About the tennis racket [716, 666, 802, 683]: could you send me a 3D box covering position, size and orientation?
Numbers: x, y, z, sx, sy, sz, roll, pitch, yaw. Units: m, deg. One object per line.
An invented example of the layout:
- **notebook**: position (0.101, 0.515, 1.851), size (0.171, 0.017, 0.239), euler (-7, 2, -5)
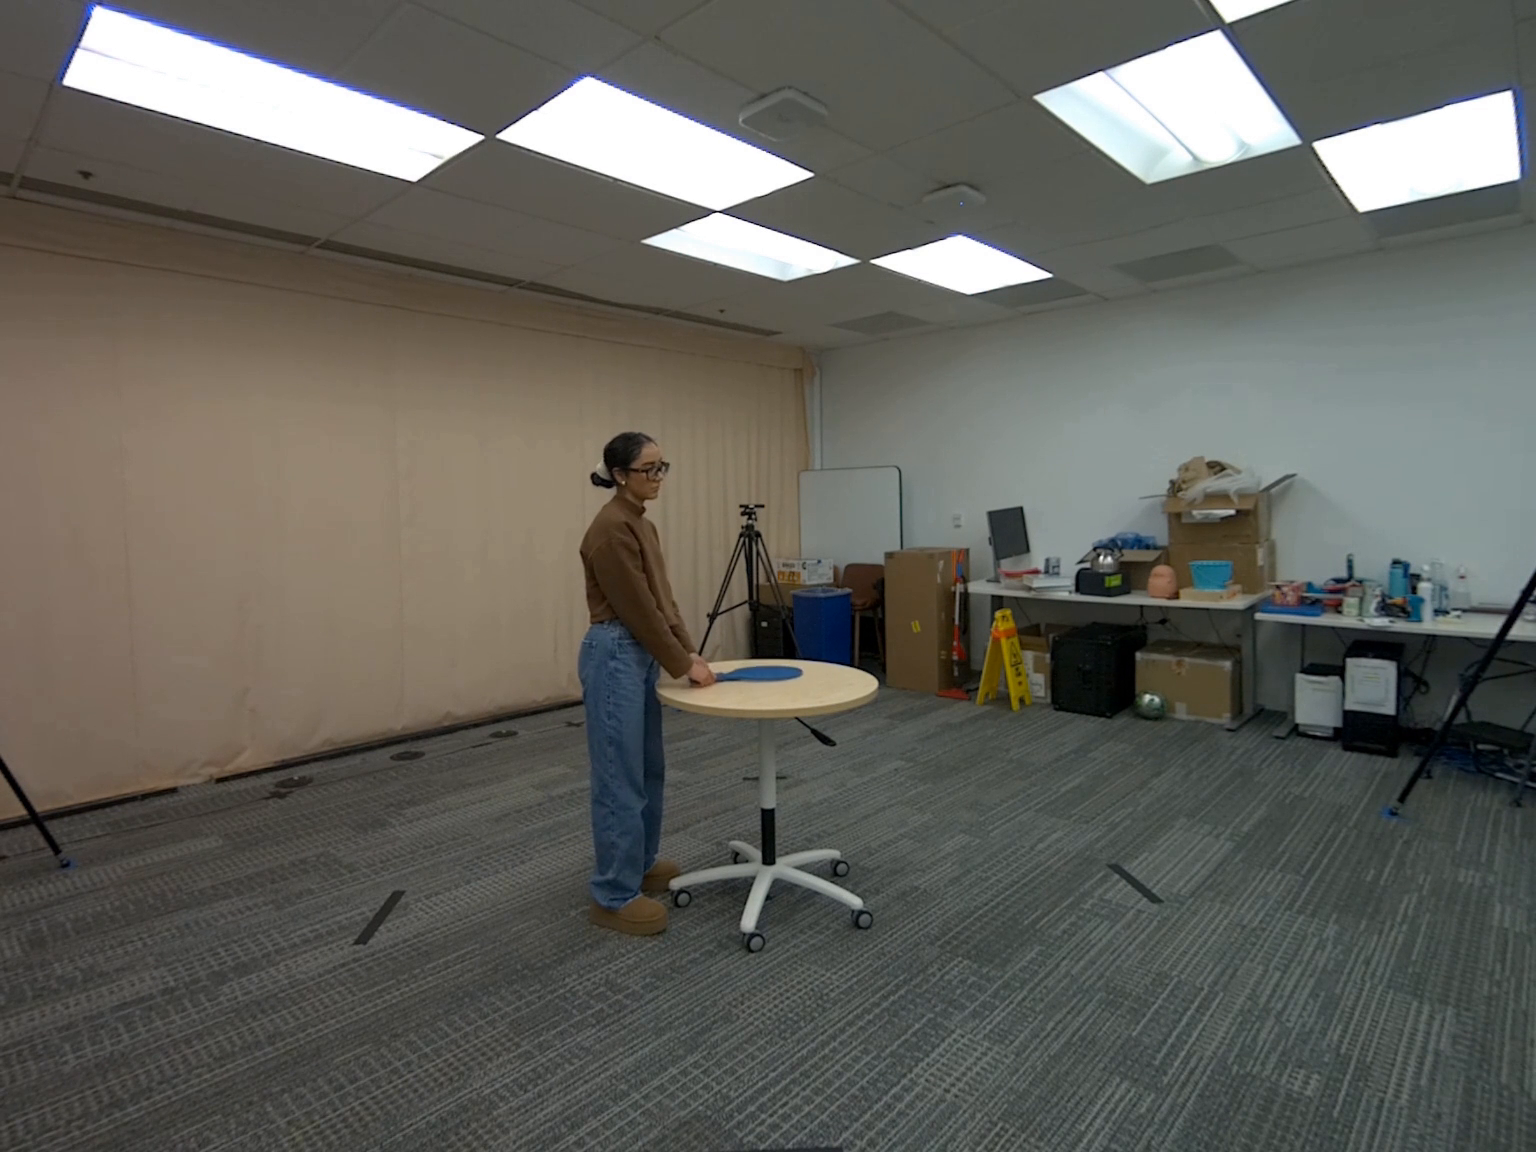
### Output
- **tennis racket**: position (-0.080, 0.354, 2.960), size (0.422, 0.031, 0.219), euler (-2, 6, -26)
